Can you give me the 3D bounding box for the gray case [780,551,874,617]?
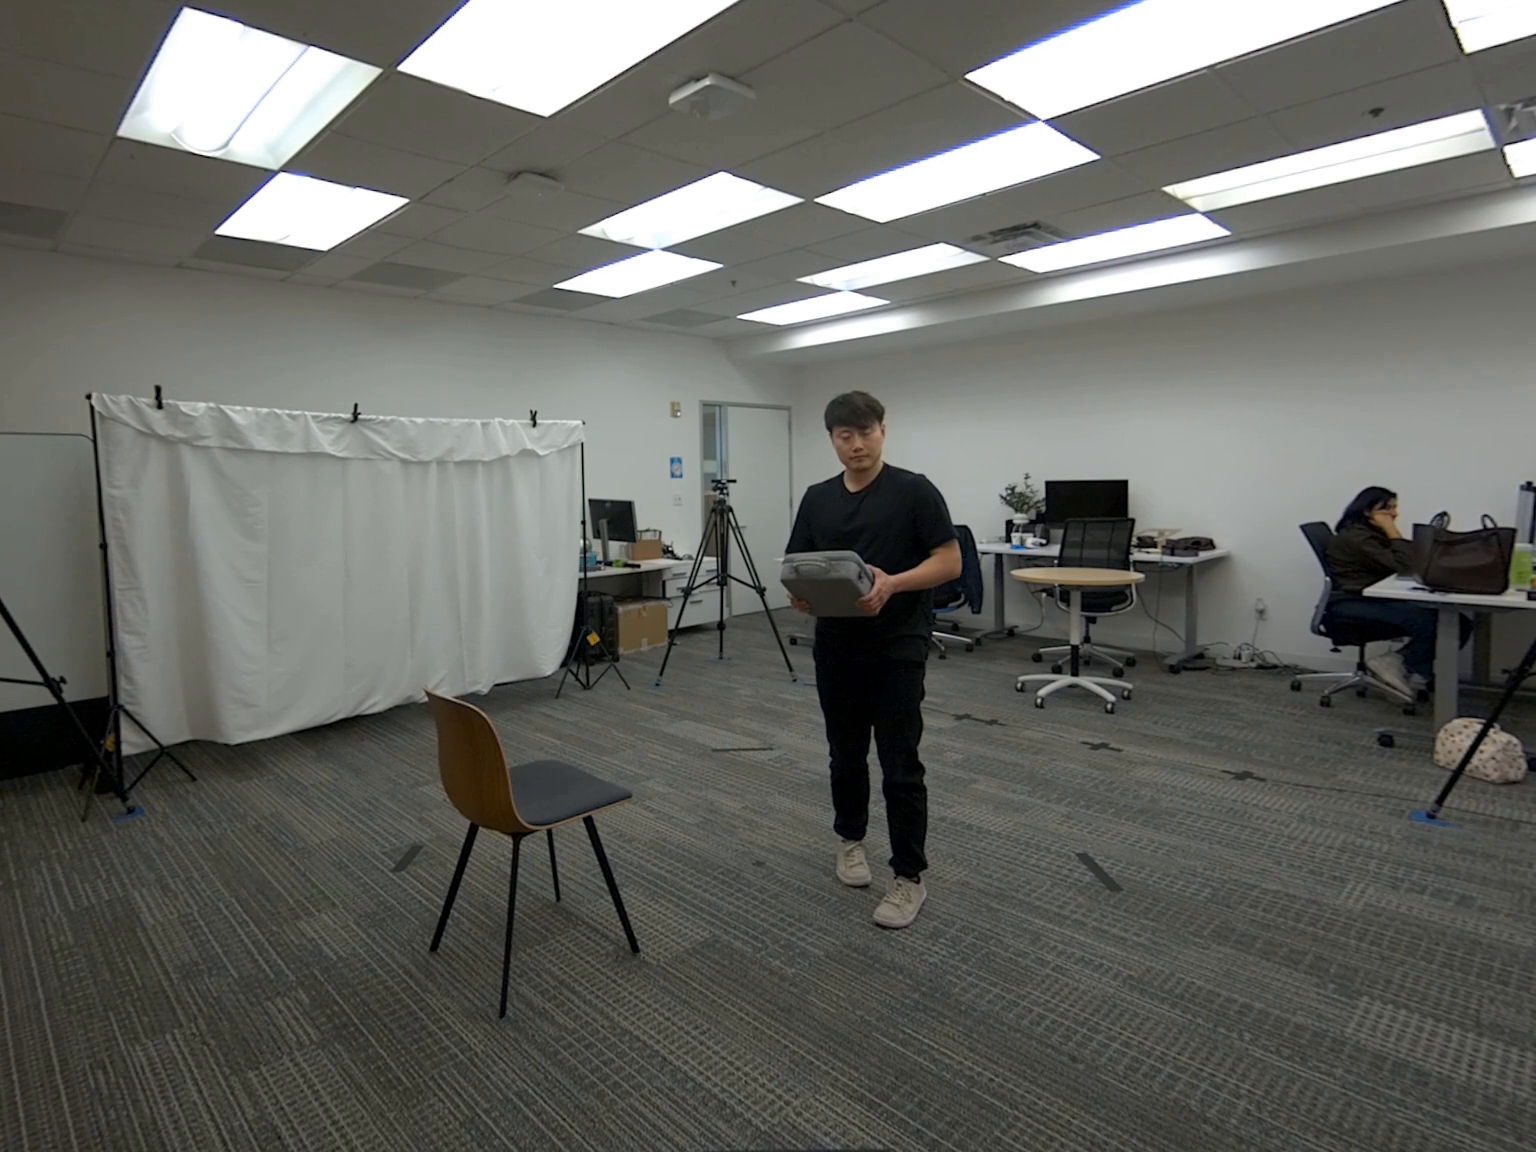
[{"bbox_3d":[0.221,0.022,2.614,0.264,0.106,0.250,-3,-30,37],"label":"gray case"}]
